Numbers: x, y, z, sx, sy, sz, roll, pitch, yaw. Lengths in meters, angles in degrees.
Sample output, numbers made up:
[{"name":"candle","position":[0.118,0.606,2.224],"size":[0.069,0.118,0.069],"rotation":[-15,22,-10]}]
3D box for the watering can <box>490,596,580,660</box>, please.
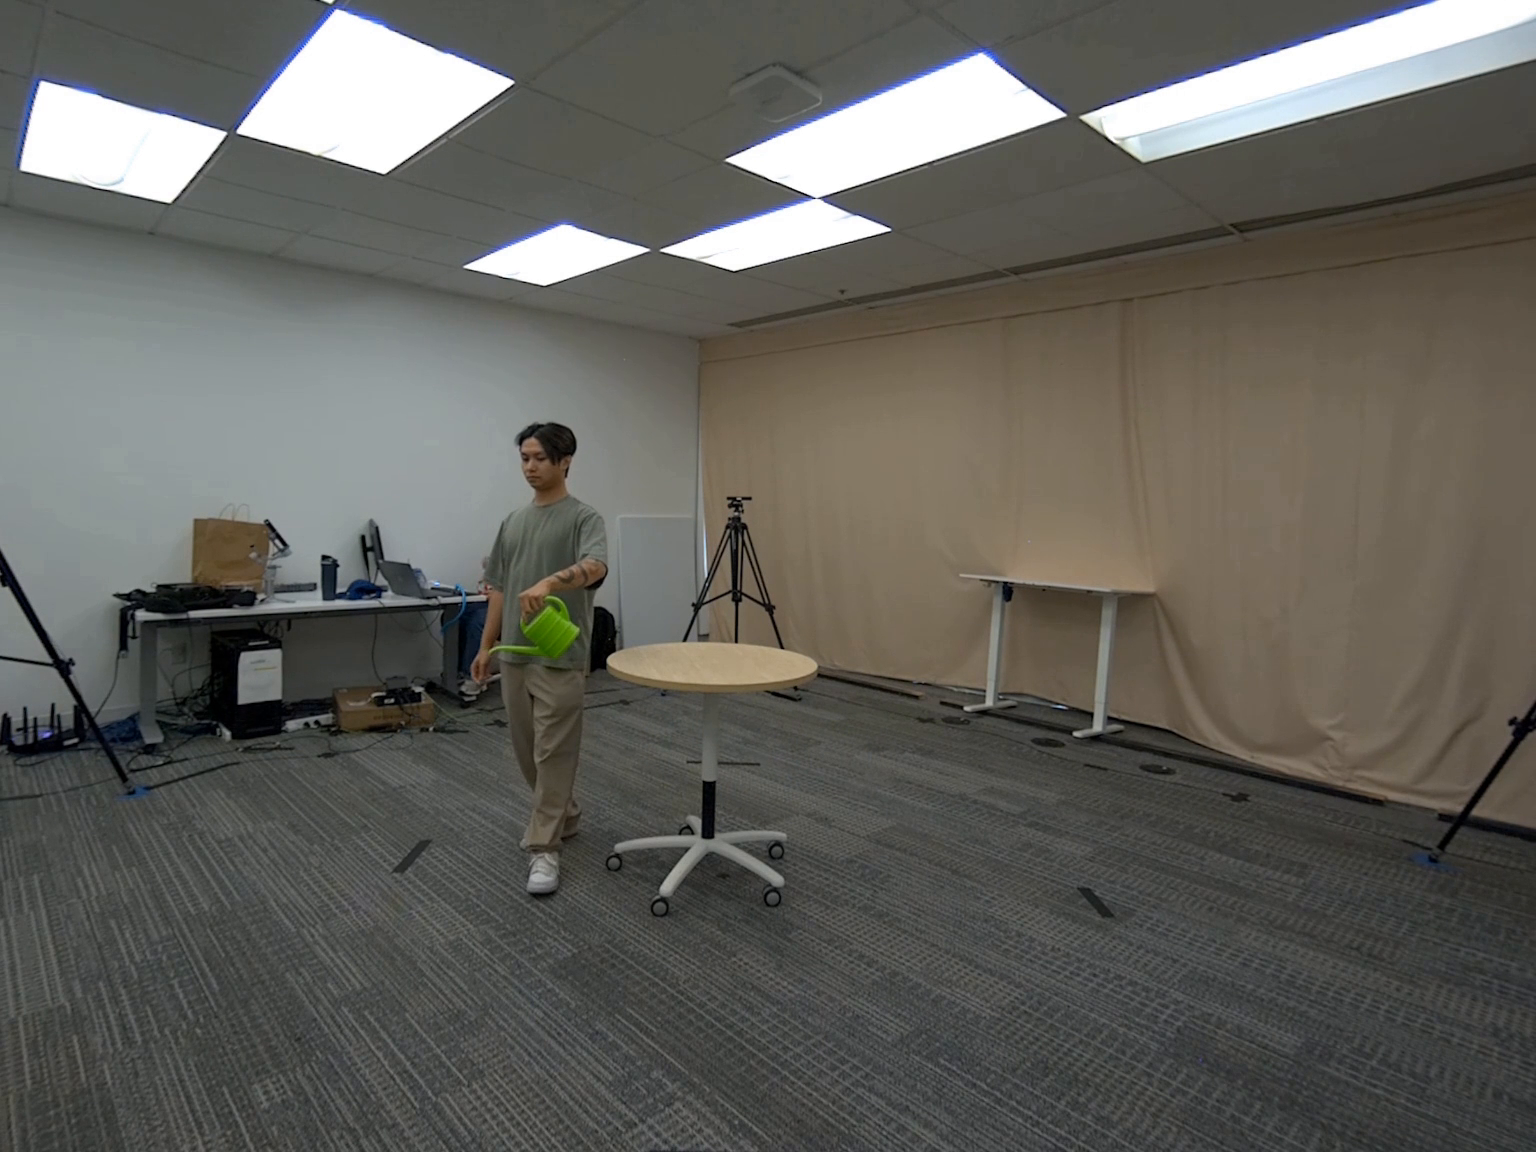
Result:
[{"name":"watering can","position":[-0.751,0.203,2.736],"size":[0.175,0.278,0.099],"rotation":[42,14,-11]}]
